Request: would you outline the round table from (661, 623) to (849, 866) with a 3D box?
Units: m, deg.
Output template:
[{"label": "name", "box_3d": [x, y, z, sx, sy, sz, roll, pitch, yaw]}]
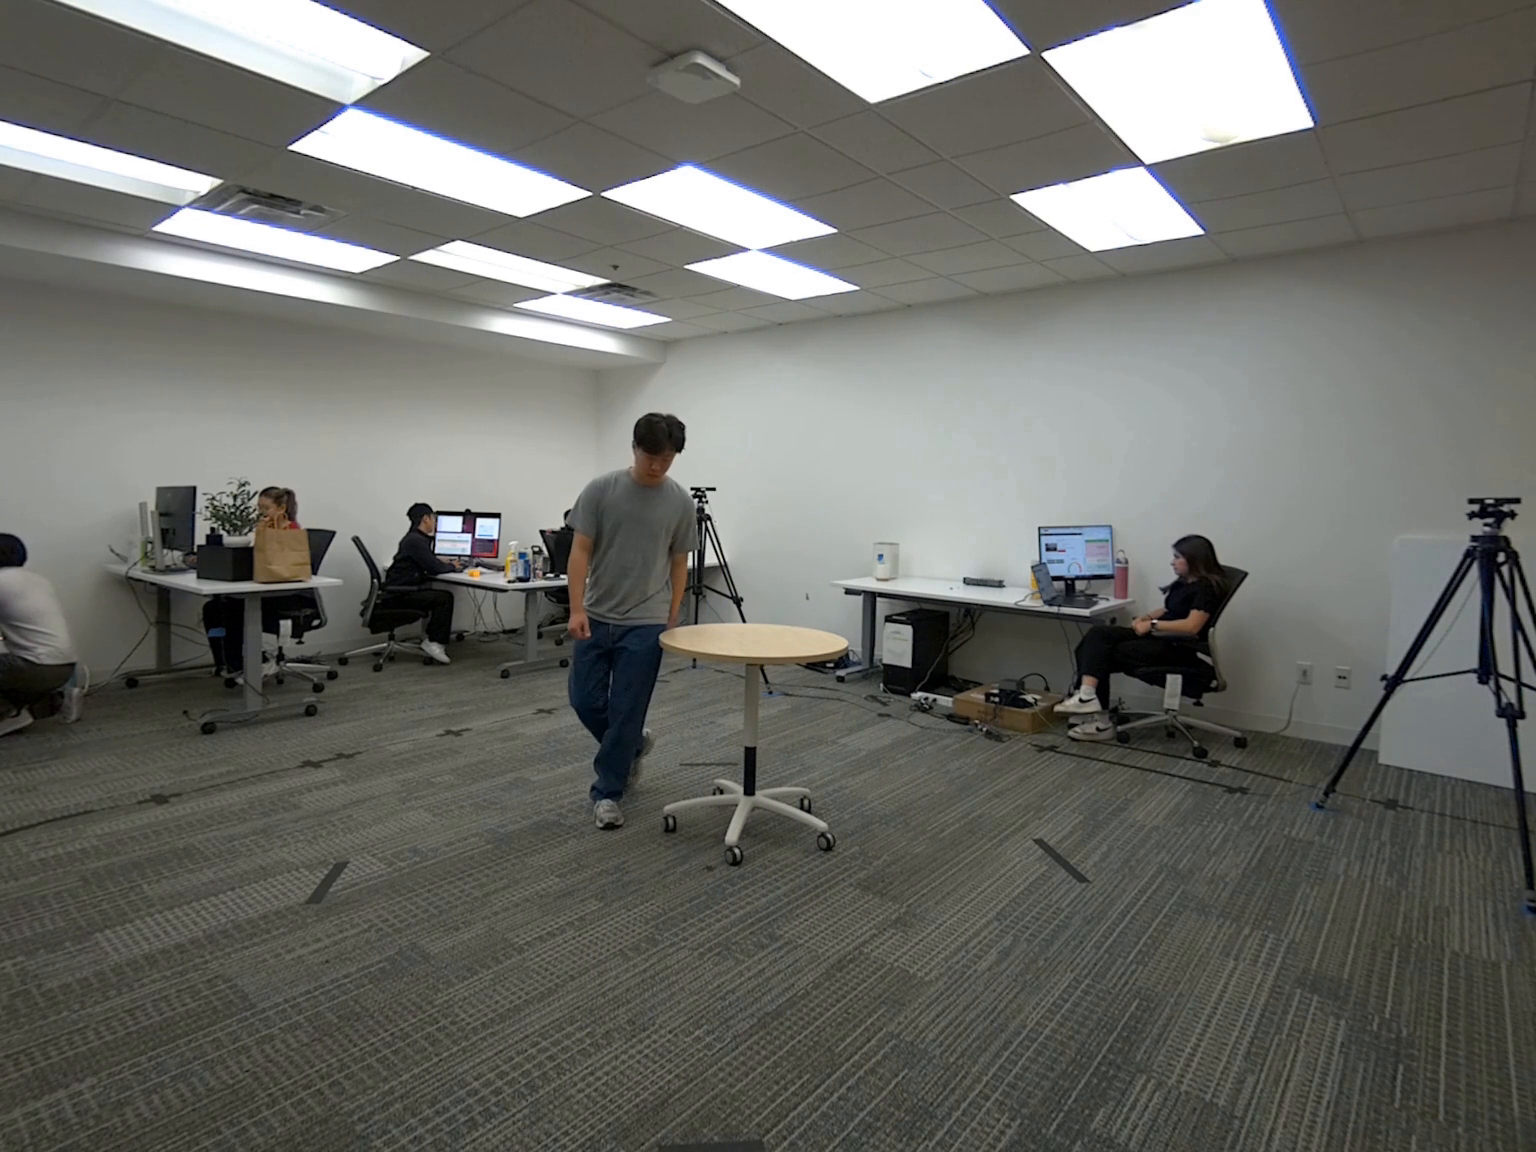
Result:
[{"label": "round table", "box_3d": [-0.081, 0.644, 3.467, 0.763, 0.791, 0.768, 1, 4, -2]}]
